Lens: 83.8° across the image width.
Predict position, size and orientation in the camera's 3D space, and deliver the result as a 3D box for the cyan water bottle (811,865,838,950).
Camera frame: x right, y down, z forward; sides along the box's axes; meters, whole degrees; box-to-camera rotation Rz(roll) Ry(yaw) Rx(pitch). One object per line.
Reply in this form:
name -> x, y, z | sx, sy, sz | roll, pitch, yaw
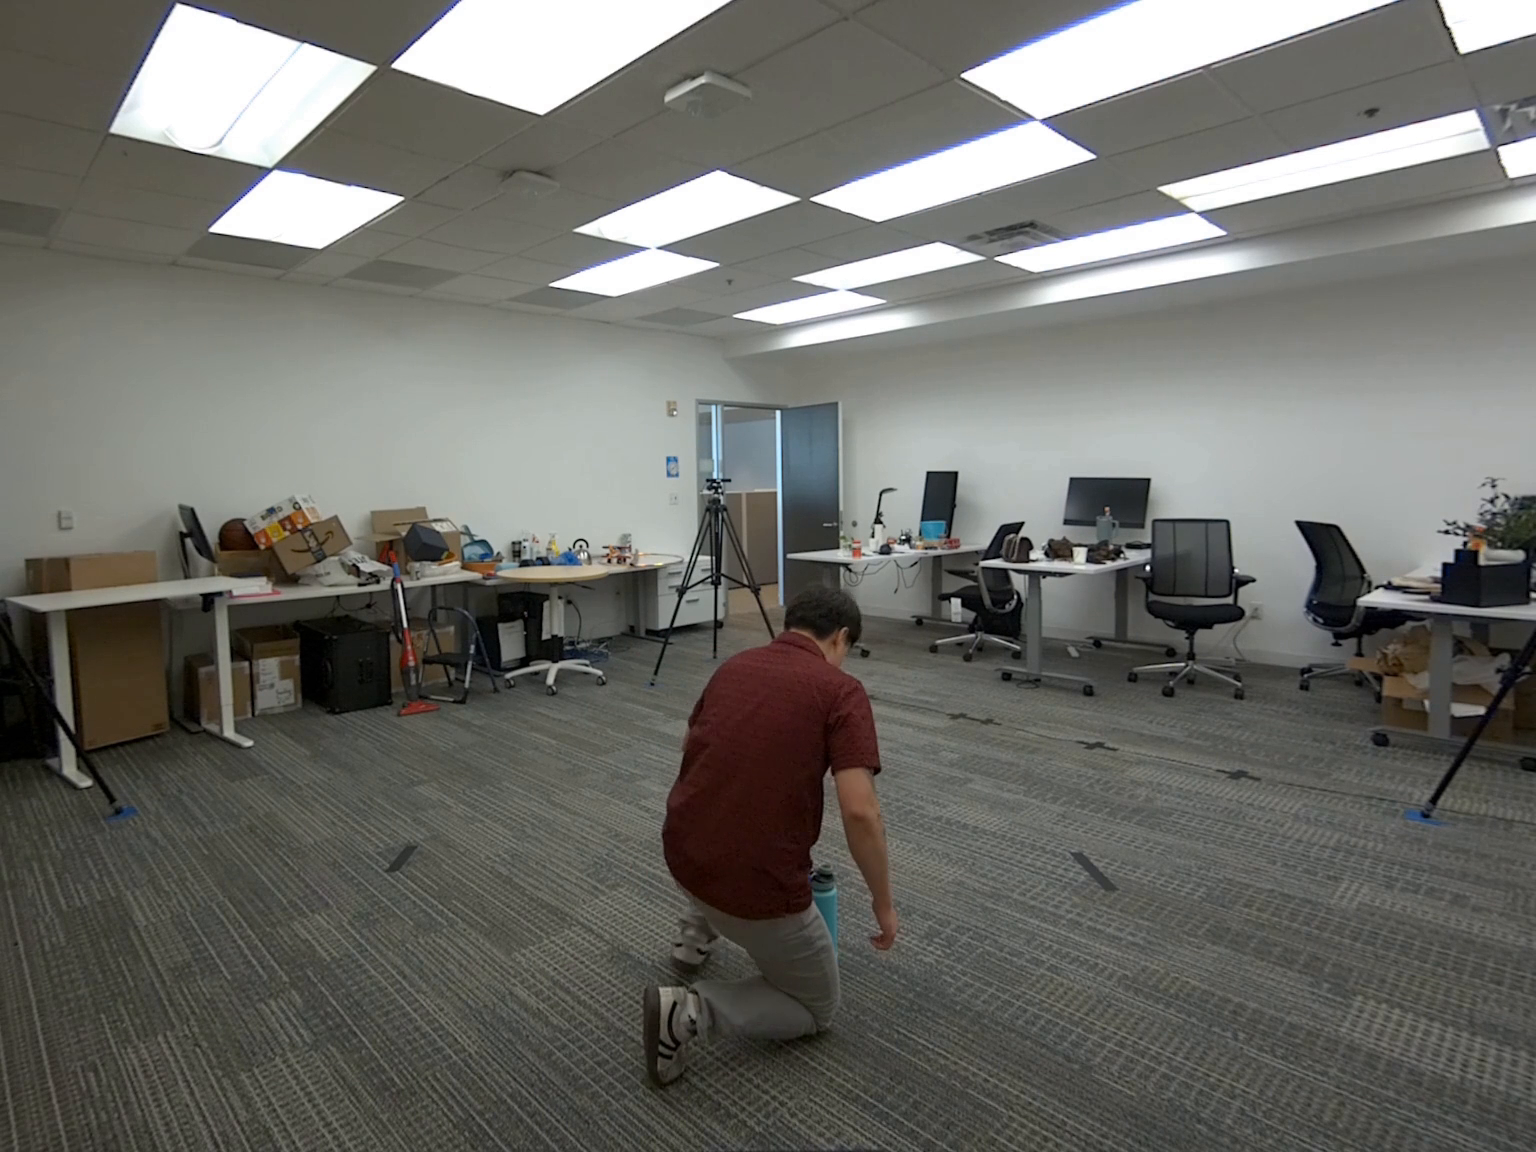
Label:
cyan water bottle -> 0.161, 0.979, 2.448 | 0.092, 0.283, 0.092 | -2, 3, -2
